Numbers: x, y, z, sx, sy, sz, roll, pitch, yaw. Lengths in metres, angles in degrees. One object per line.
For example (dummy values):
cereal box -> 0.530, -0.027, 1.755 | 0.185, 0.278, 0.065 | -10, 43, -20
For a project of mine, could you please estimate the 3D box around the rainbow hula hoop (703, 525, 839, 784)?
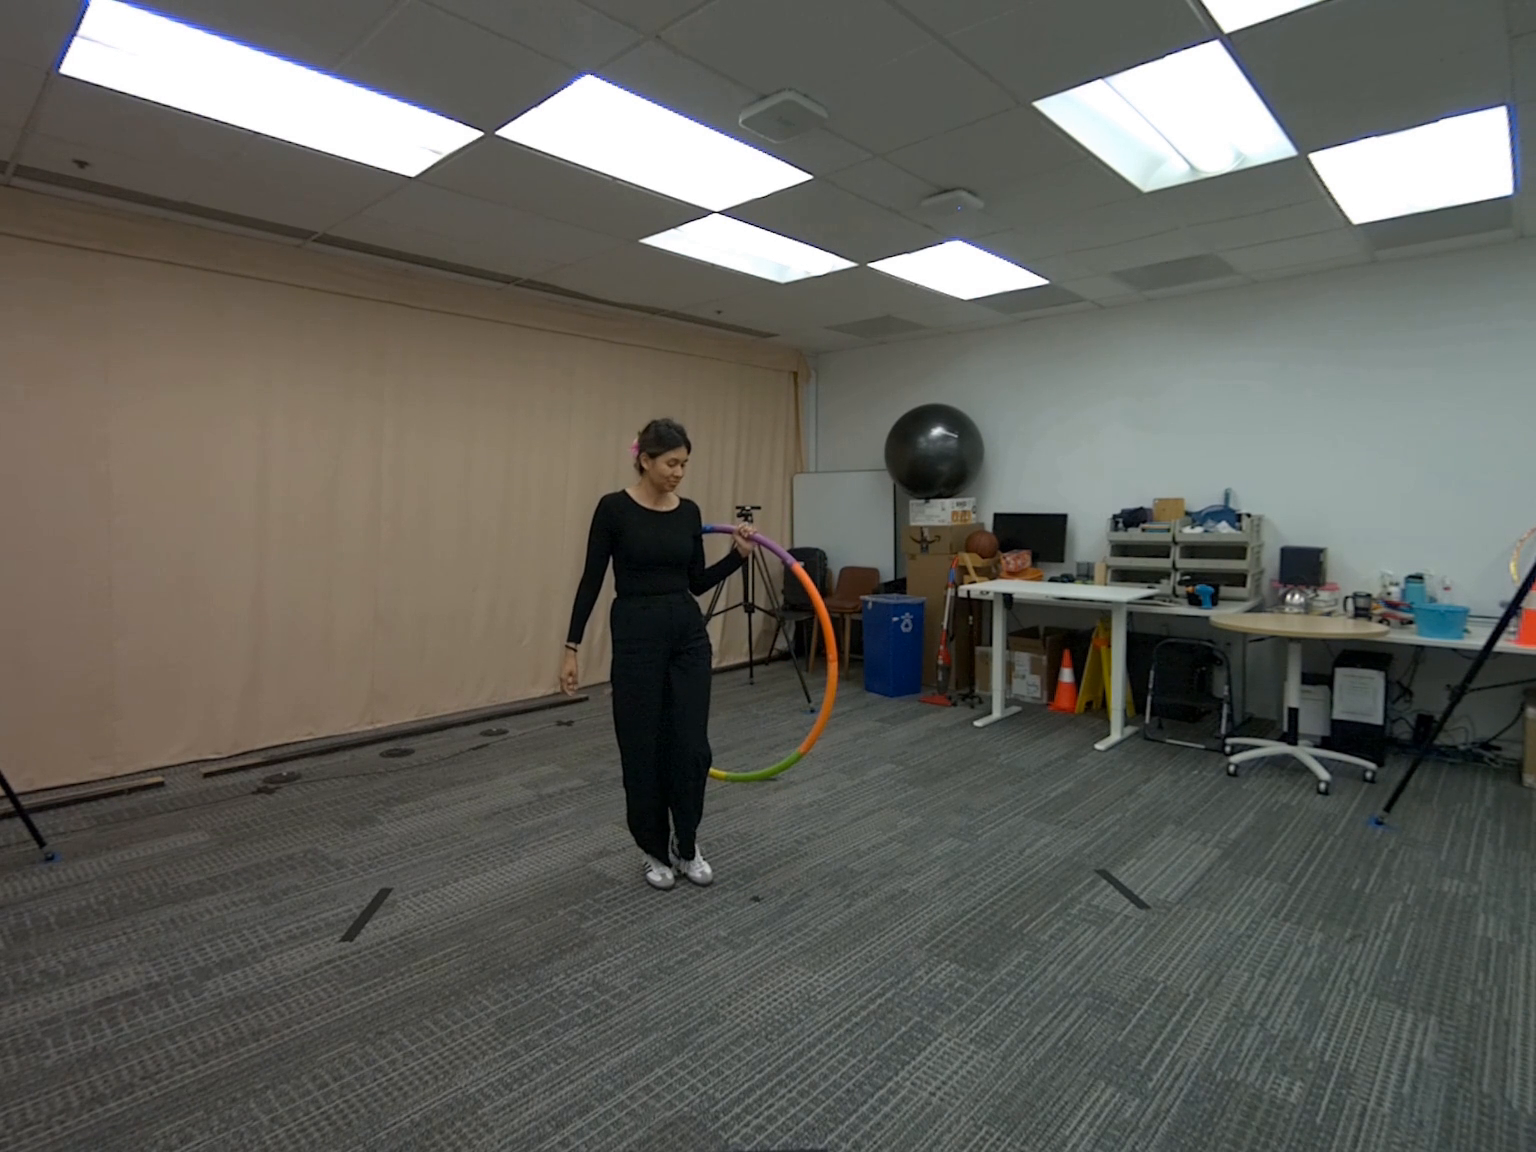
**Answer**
rainbow hula hoop -> -0.184, 0.293, 3.232 | 1.007, 0.976, 0.034 | 2, 4, 31
